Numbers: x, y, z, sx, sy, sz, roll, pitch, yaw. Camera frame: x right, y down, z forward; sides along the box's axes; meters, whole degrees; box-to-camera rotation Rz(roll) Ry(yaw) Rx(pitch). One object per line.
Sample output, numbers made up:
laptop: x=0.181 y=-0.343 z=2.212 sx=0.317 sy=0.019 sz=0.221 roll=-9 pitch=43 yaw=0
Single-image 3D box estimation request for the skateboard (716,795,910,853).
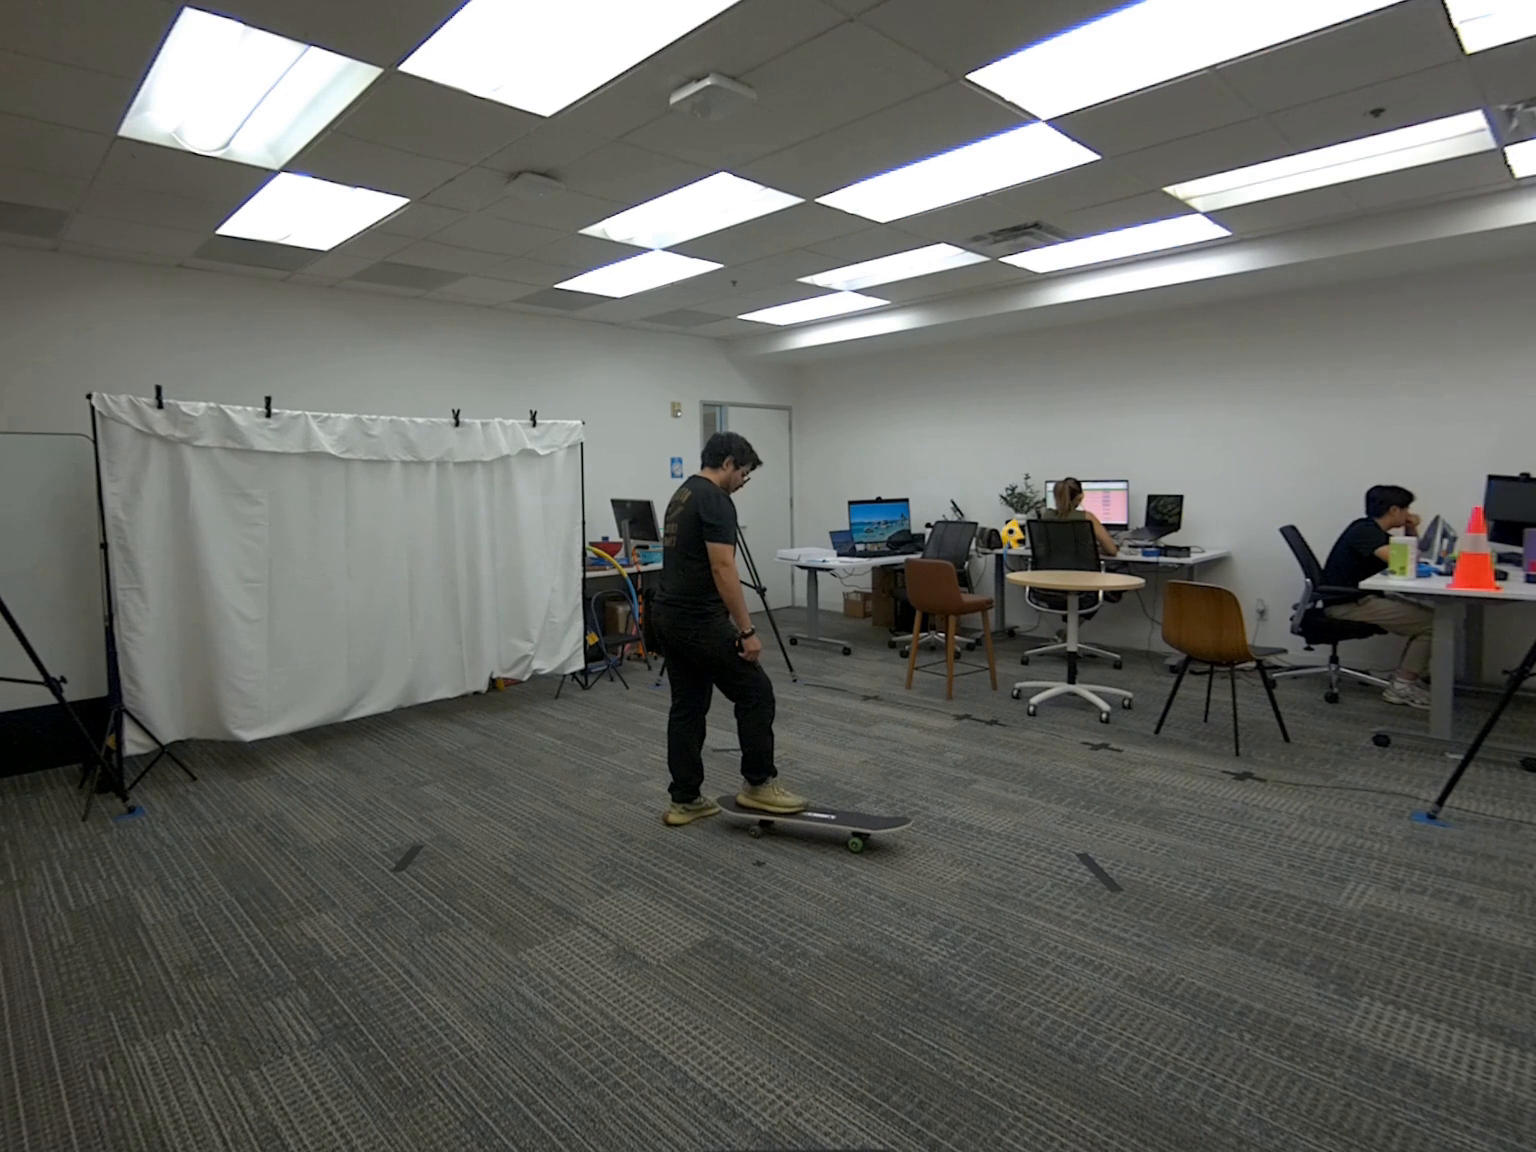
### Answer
skateboard: x=0.172 y=0.964 z=3.335 sx=0.801 sy=0.110 sz=0.190 roll=0 pitch=2 yaw=22
